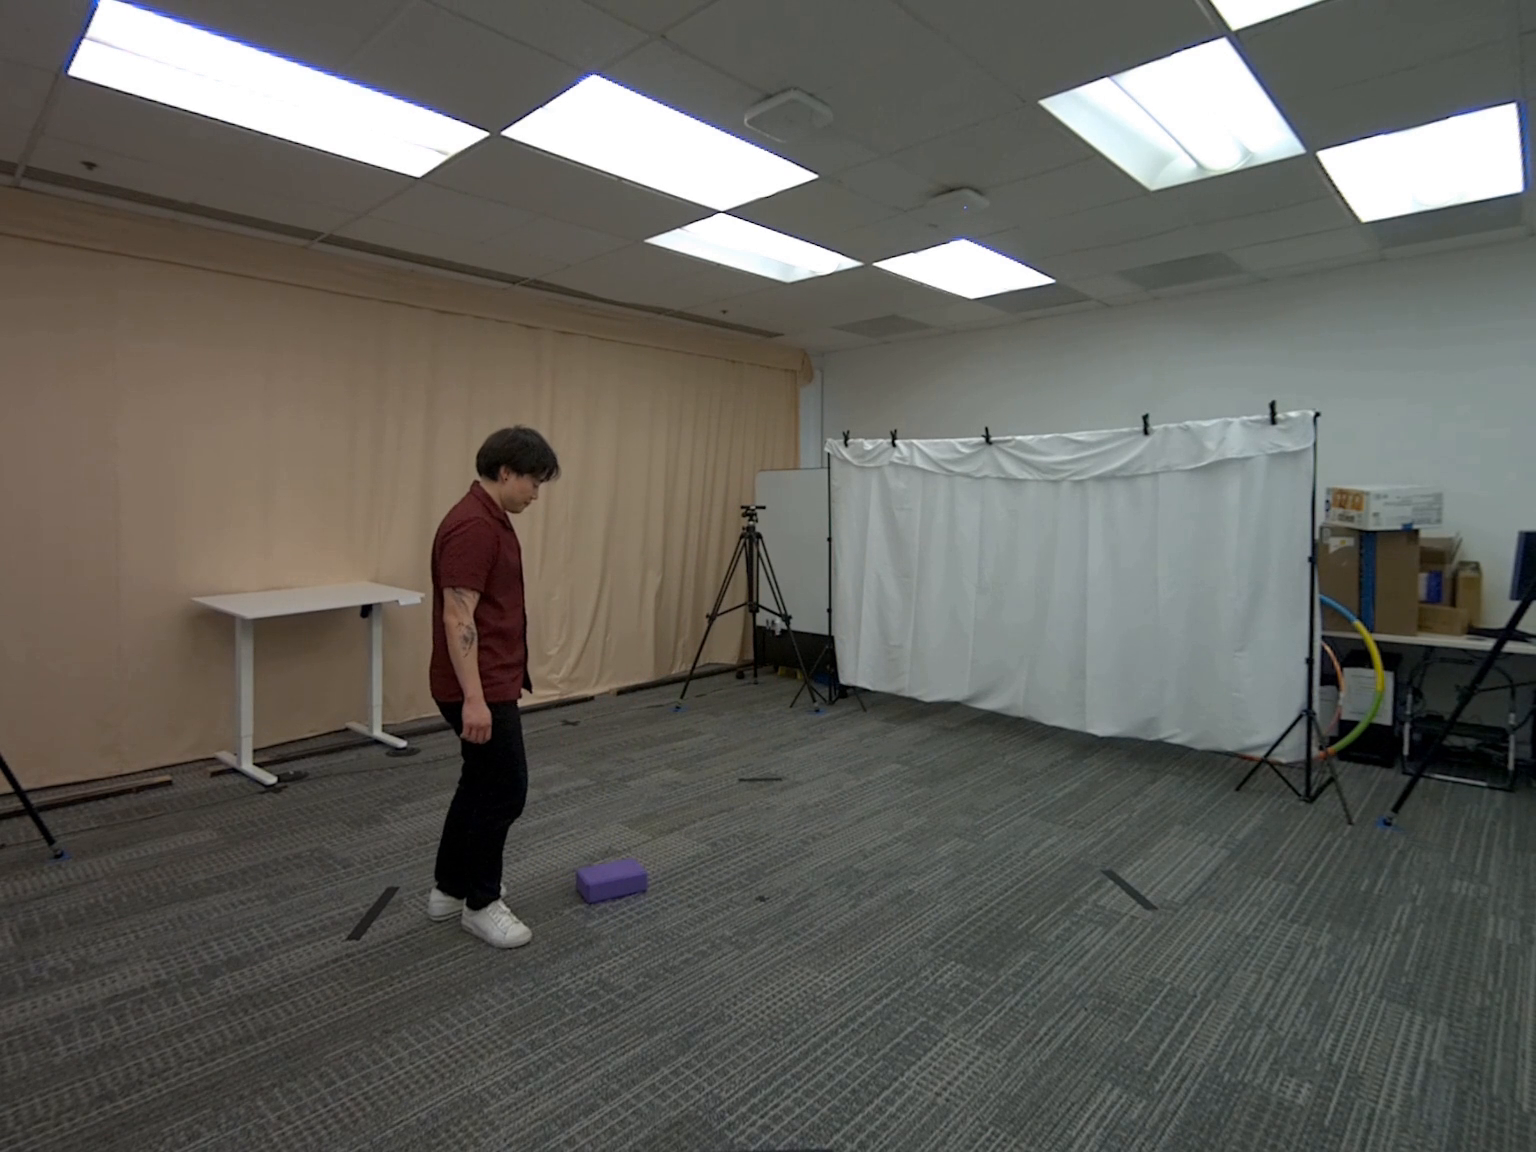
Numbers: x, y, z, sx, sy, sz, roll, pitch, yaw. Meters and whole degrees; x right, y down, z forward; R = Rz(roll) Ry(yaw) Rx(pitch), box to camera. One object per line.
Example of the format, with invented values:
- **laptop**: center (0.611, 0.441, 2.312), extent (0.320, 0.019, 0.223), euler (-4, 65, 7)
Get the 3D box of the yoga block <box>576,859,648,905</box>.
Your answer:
- **yoga block**: center (-0.569, 1.101, 3.053), extent (0.223, 0.076, 0.153), euler (-2, 5, -28)
